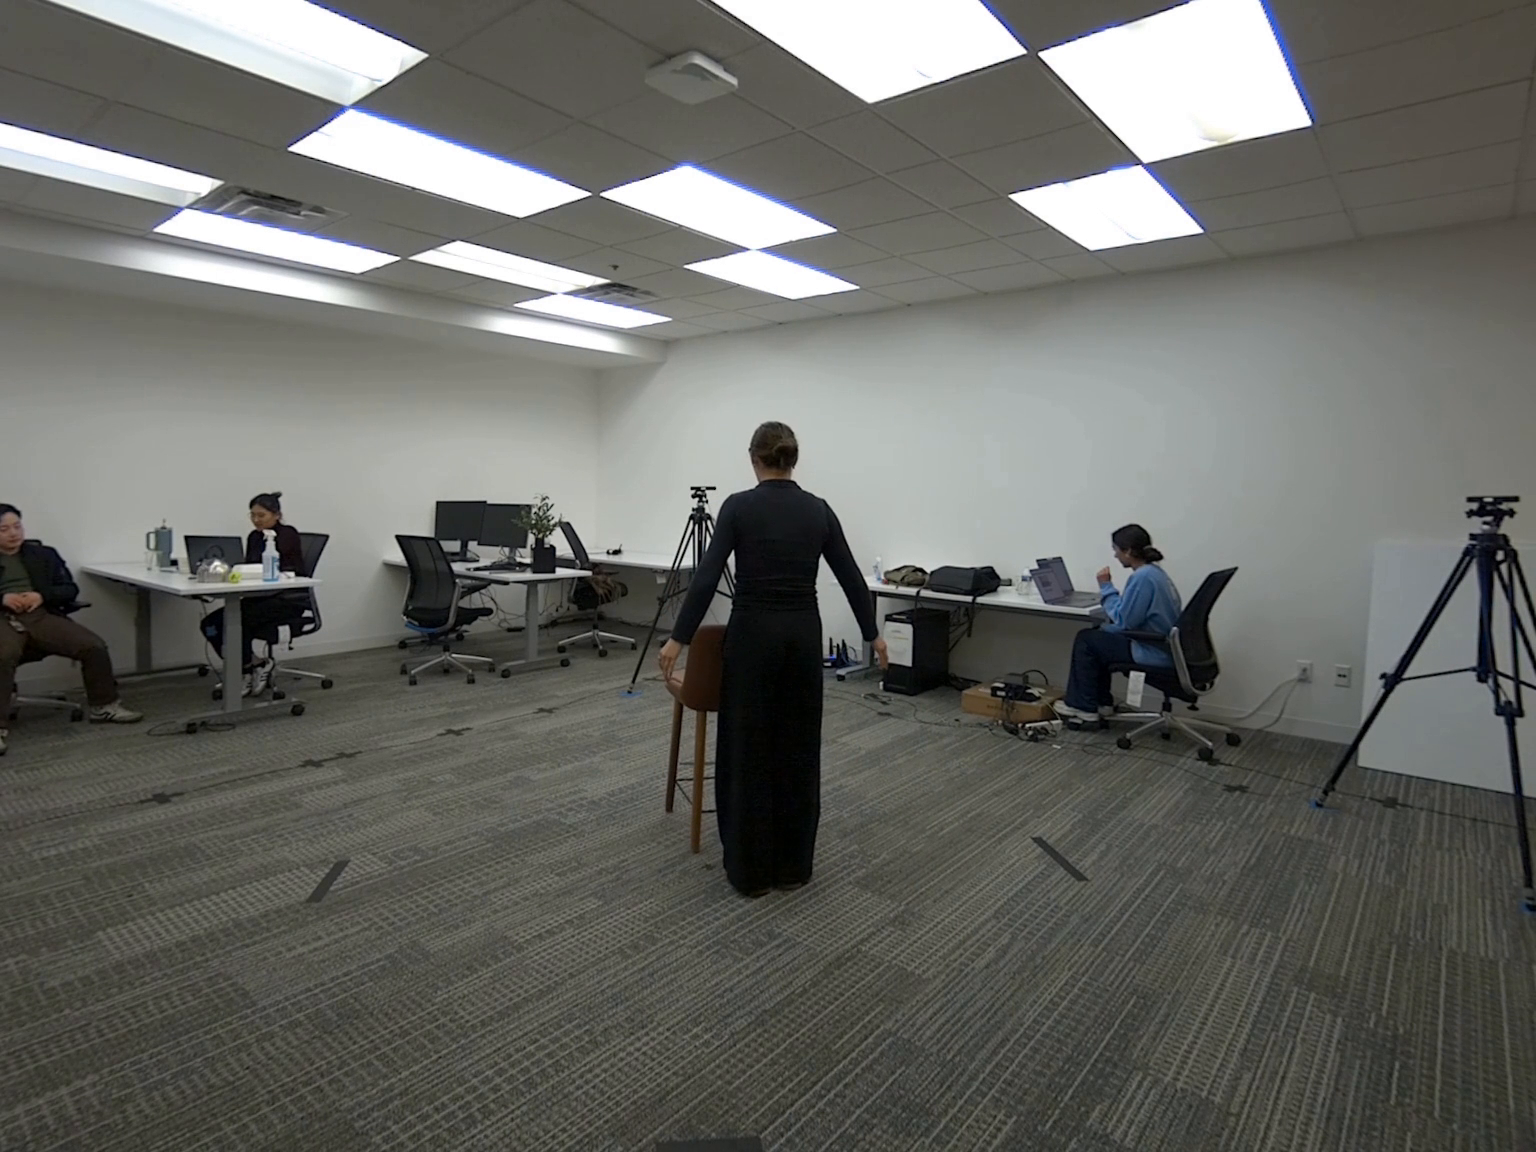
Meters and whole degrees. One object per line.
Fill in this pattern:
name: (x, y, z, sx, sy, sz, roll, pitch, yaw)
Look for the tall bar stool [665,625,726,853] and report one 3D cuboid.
tall bar stool: (-0.181, 0.591, 3.461, 0.449, 0.886, 0.478, 0, 5, -17)
